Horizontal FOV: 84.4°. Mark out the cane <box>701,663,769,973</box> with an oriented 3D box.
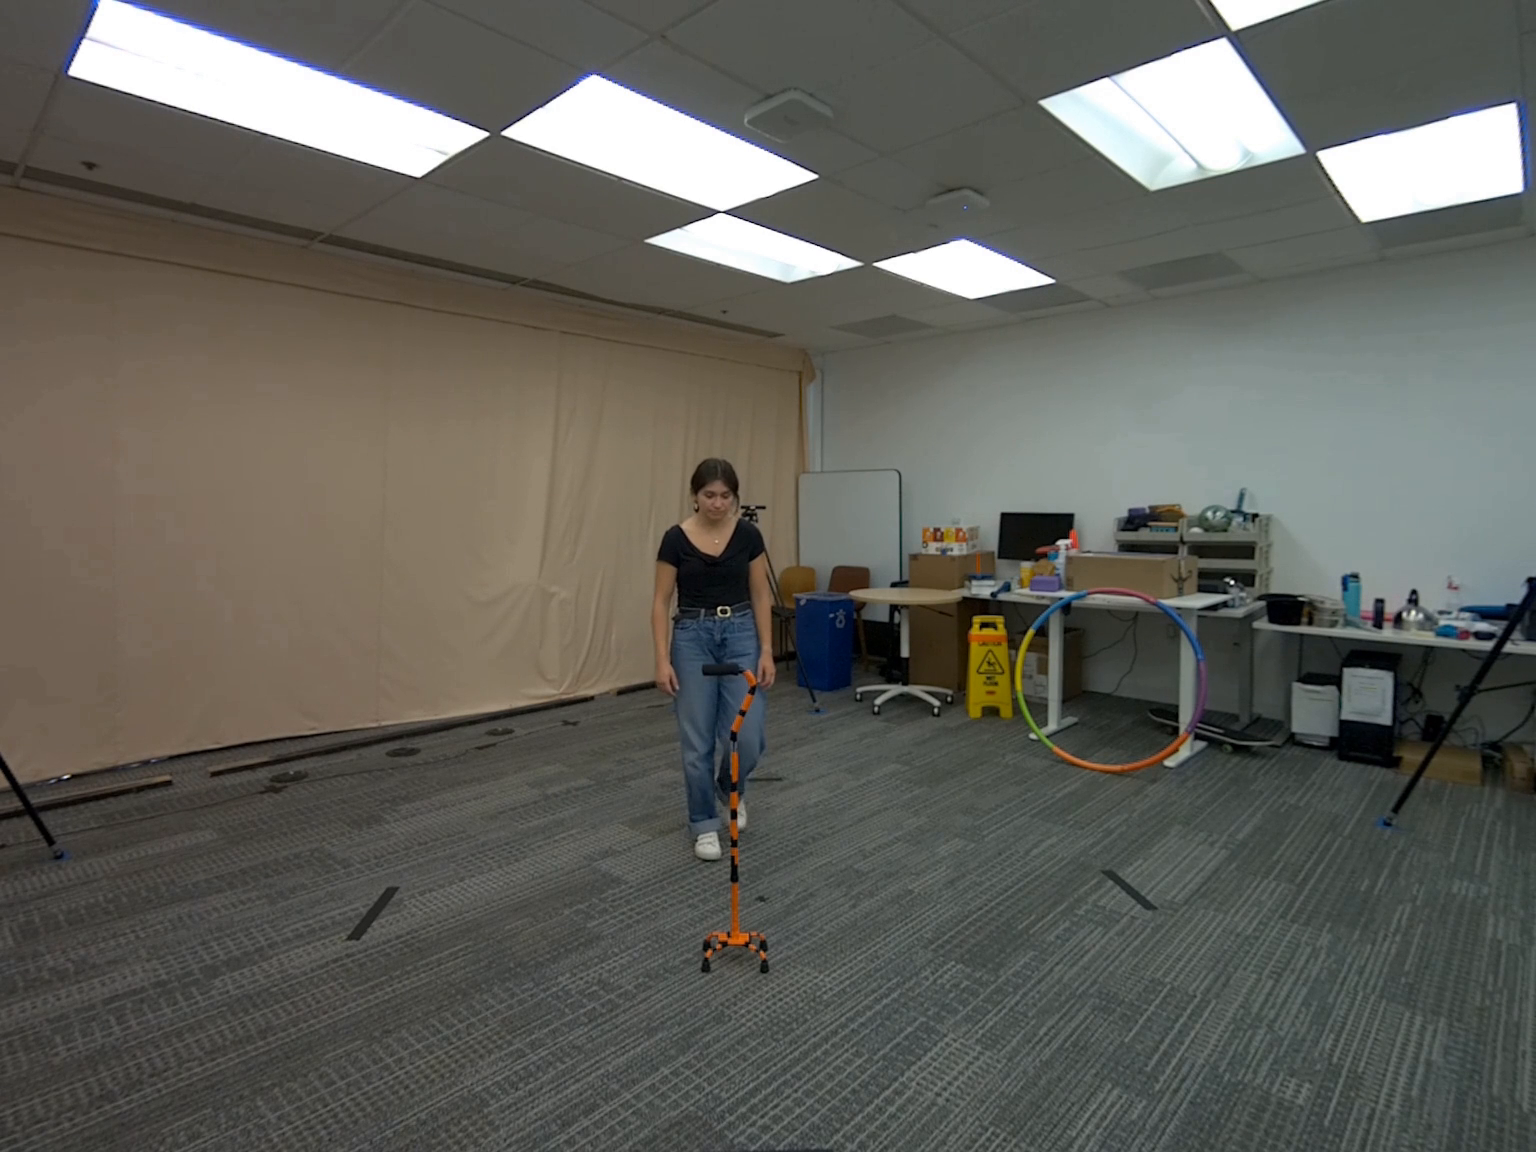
[{"bbox_3d":[-0.104,0.722,2.560,0.206,0.906,0.152,0,2,-1],"label":"cane"}]
